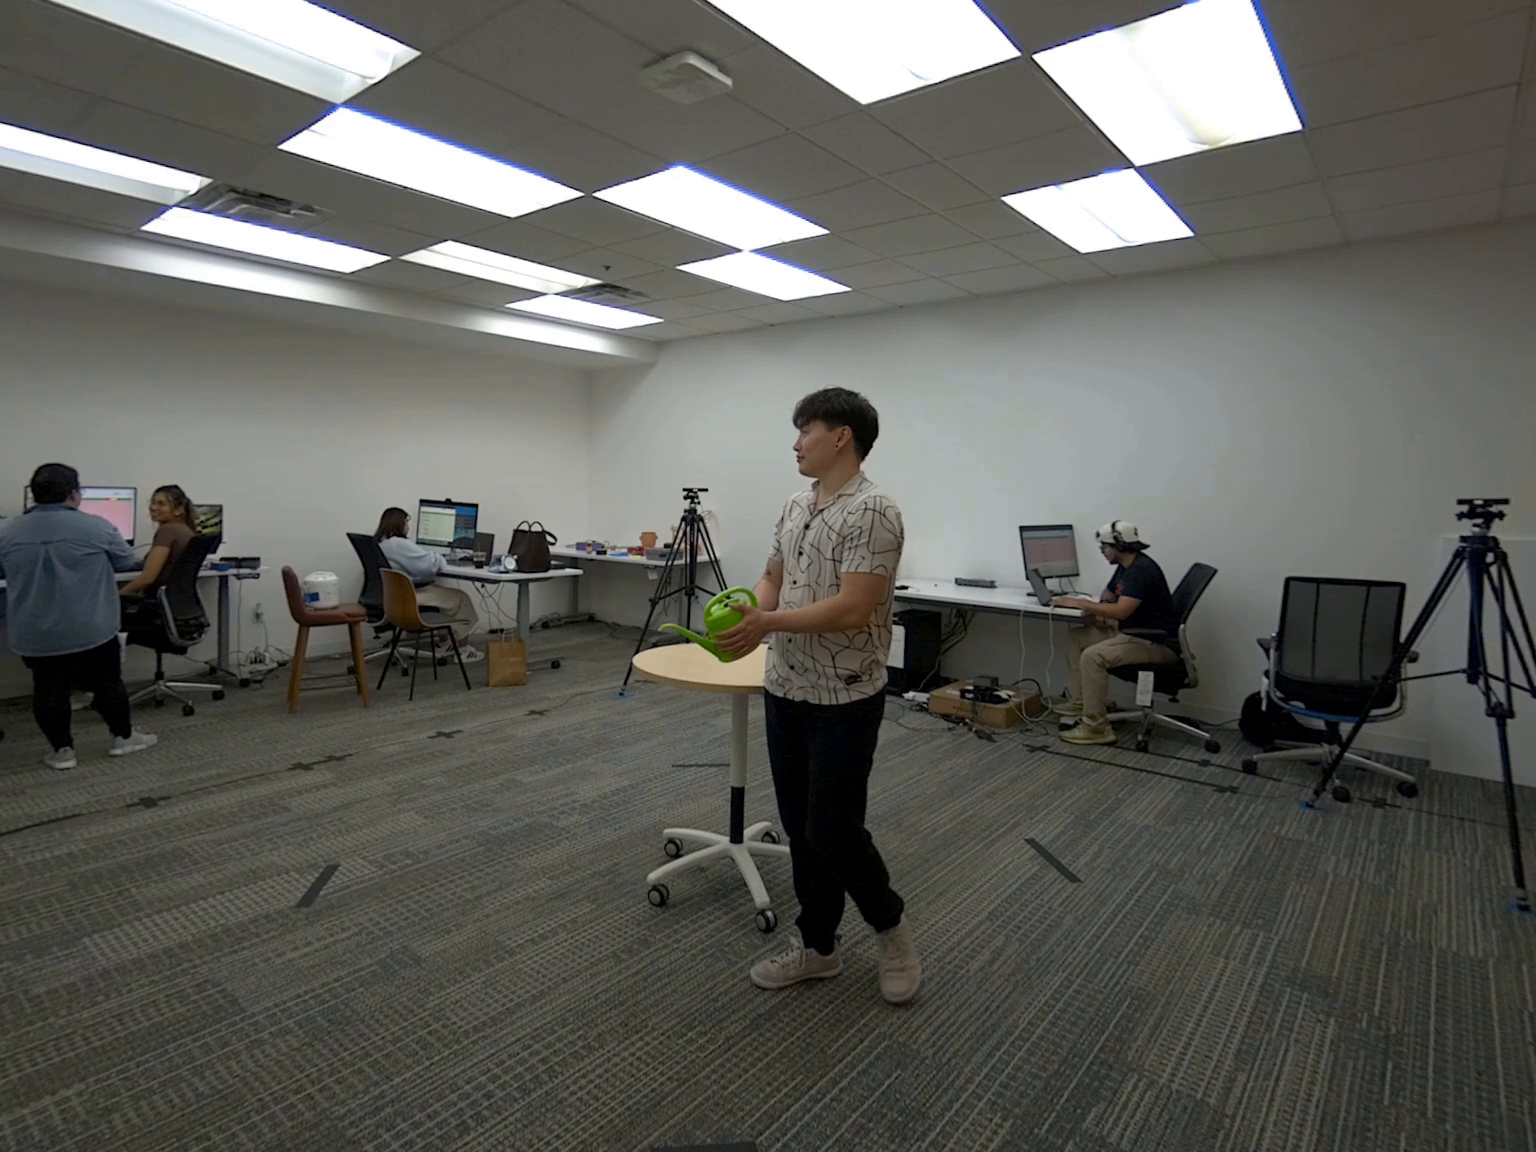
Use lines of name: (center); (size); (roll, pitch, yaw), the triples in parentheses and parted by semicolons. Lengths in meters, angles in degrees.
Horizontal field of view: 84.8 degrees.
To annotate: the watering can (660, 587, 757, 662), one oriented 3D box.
watering can: (-0.143, 0.149, 2.287); (0.277, 0.174, 0.100); (-26, 14, -6)
